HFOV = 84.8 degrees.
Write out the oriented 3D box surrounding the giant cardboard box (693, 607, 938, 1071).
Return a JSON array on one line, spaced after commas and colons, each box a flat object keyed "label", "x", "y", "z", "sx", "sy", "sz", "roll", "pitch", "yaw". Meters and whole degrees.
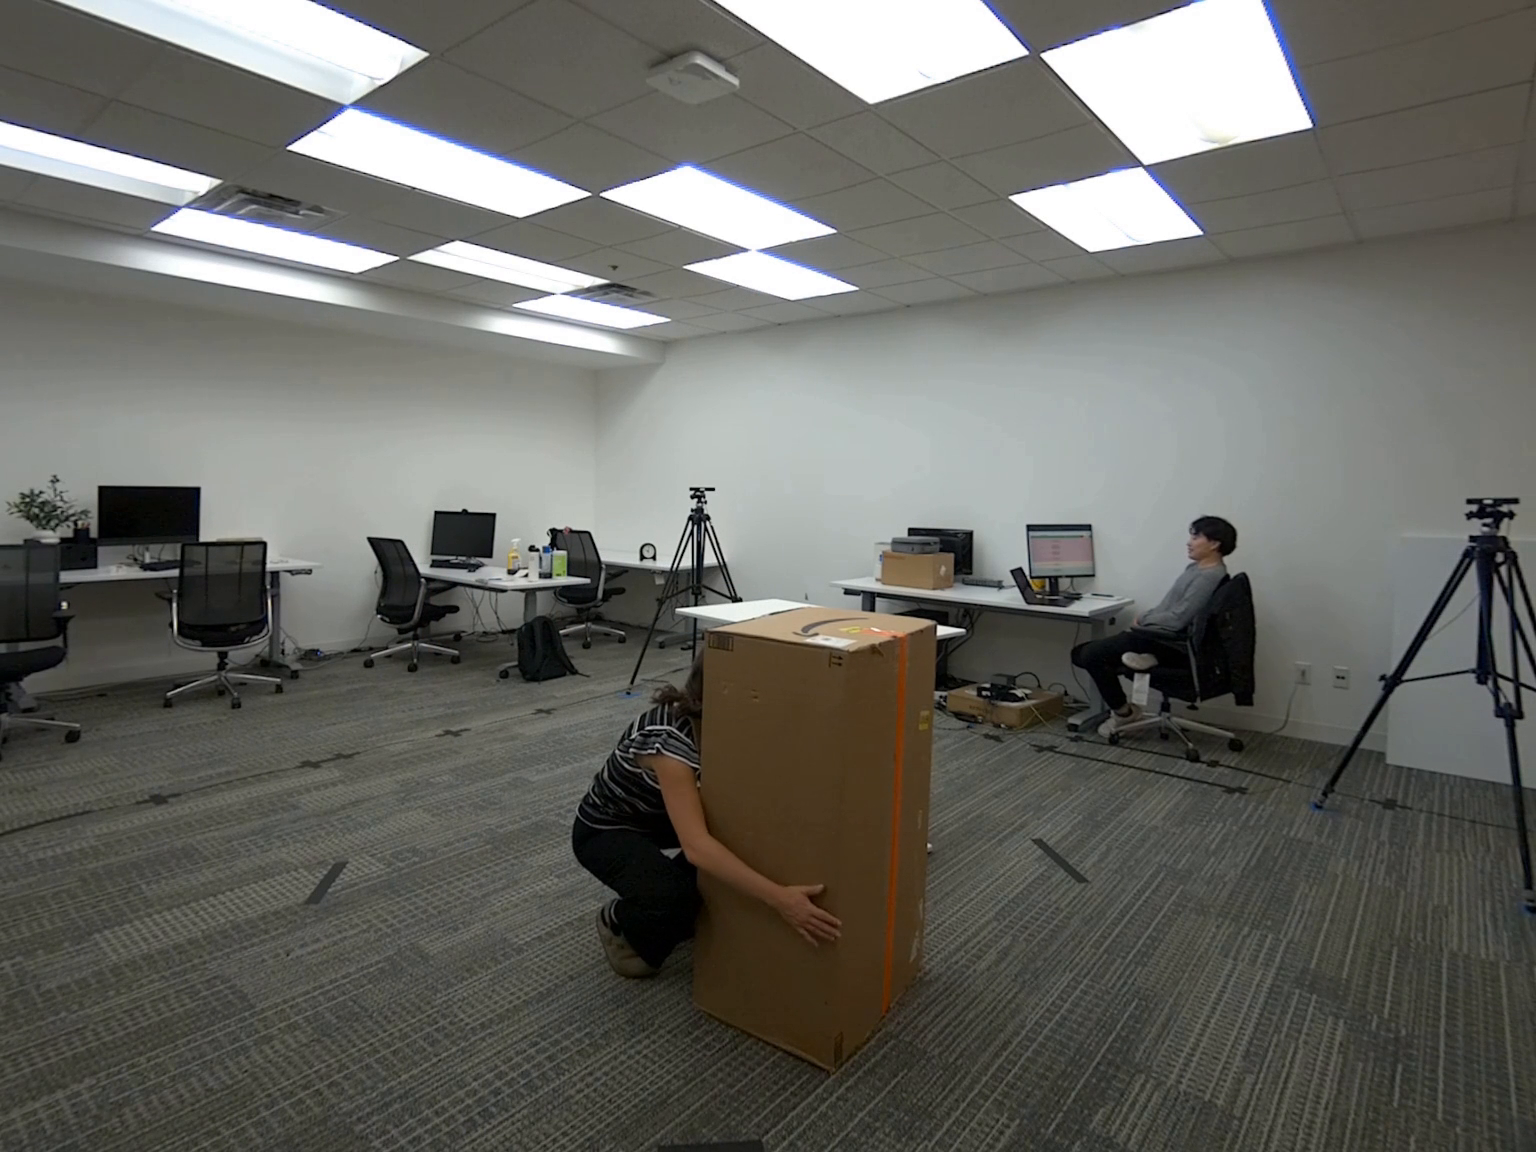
[{"label": "giant cardboard box", "x": 0.139, "y": 0.637, "z": 2.349, "sx": 0.439, "sy": 1.023, "sz": 0.561, "roll": 4, "pitch": 4, "yaw": 33}]
